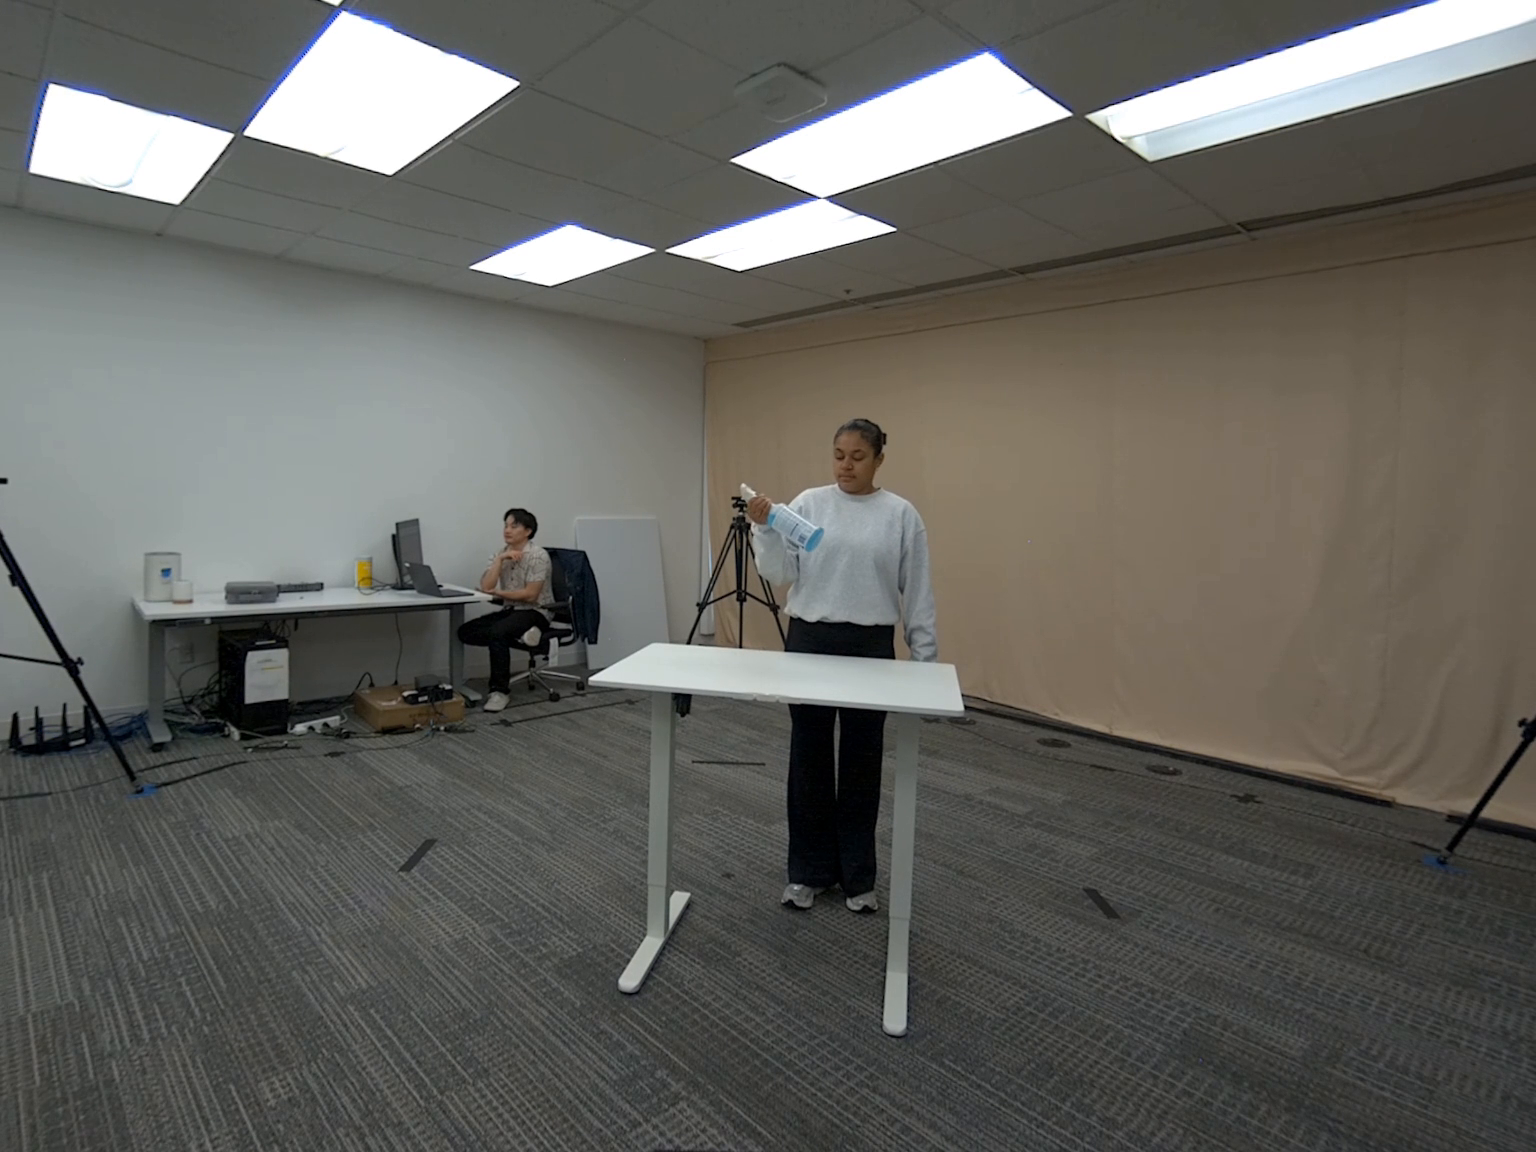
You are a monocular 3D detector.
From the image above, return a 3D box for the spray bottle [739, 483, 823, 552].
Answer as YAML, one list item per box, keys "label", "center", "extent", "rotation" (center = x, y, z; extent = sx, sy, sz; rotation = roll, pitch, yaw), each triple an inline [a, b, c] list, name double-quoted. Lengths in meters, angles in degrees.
- label: "spray bottle"
  center: [0.033, -0.179, 2.651]
  extent: [0.303, 0.087, 0.088]
  rotation: [35, 3, 17]
